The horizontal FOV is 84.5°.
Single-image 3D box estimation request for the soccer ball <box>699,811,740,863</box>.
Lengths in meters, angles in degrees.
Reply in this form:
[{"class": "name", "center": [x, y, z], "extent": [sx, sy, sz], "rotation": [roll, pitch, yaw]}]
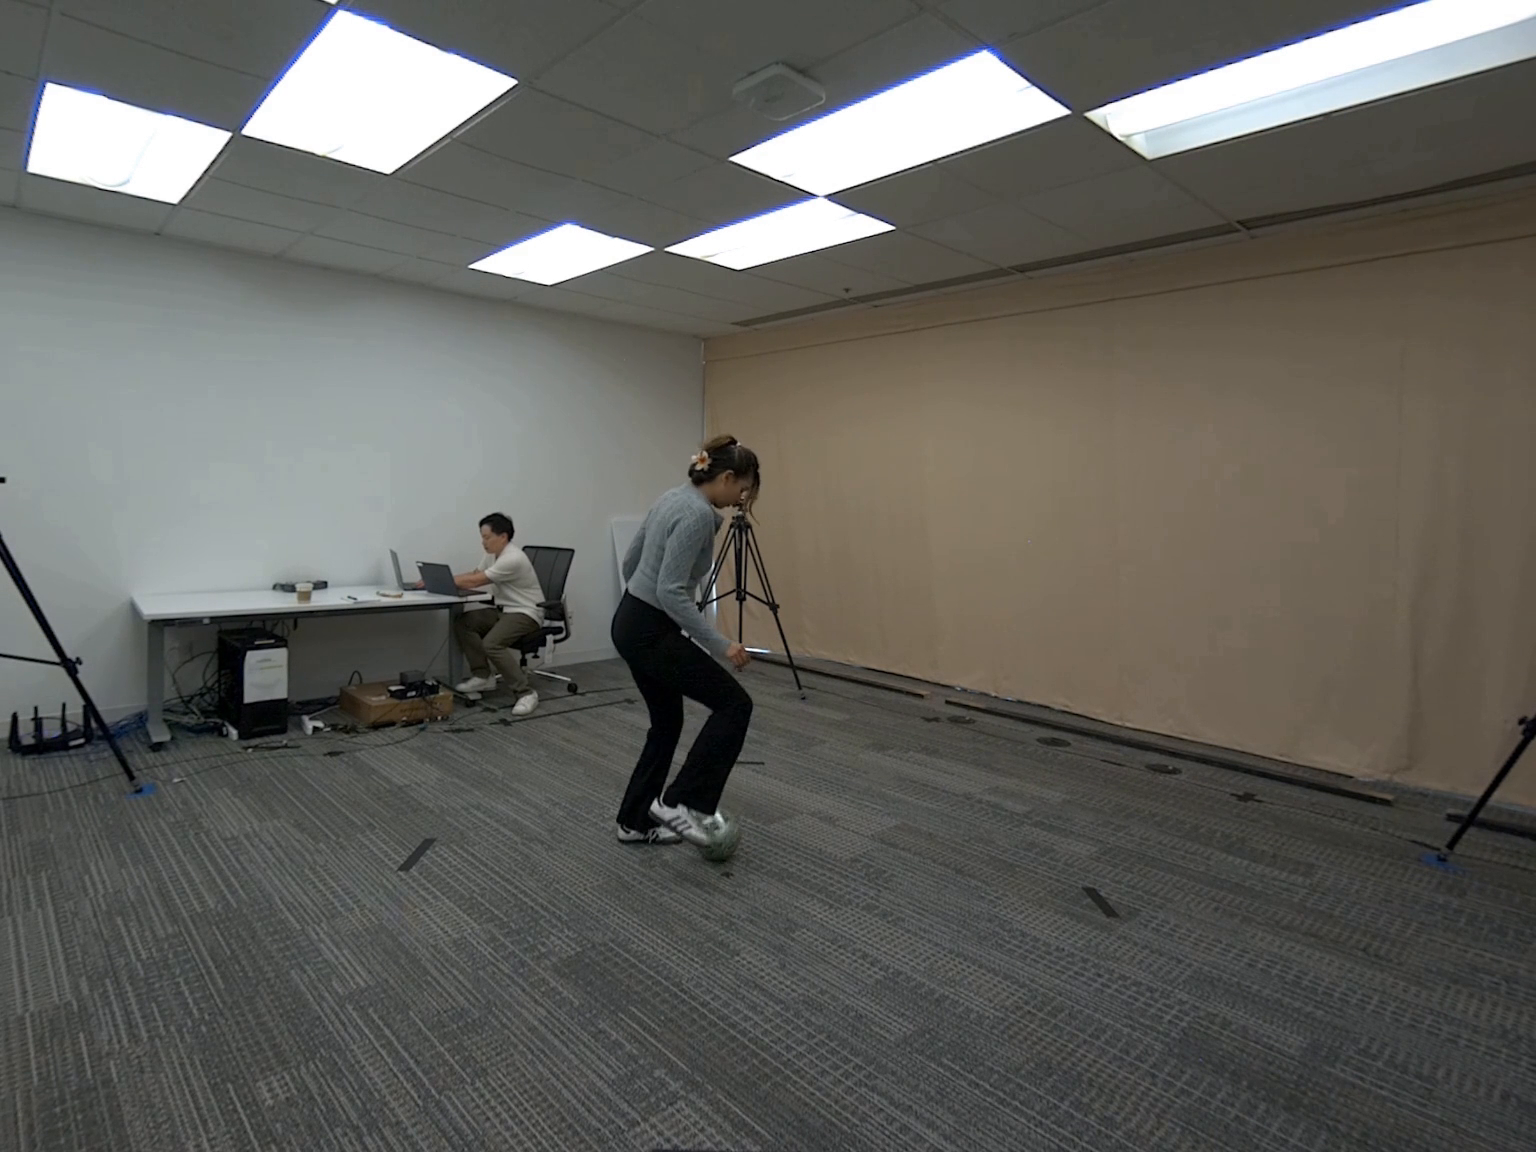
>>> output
[{"class": "soccer ball", "center": [-0.203, 0.992, 3.271], "extent": [0.187, 0.187, 0.188], "rotation": [1, 4, -1]}]
